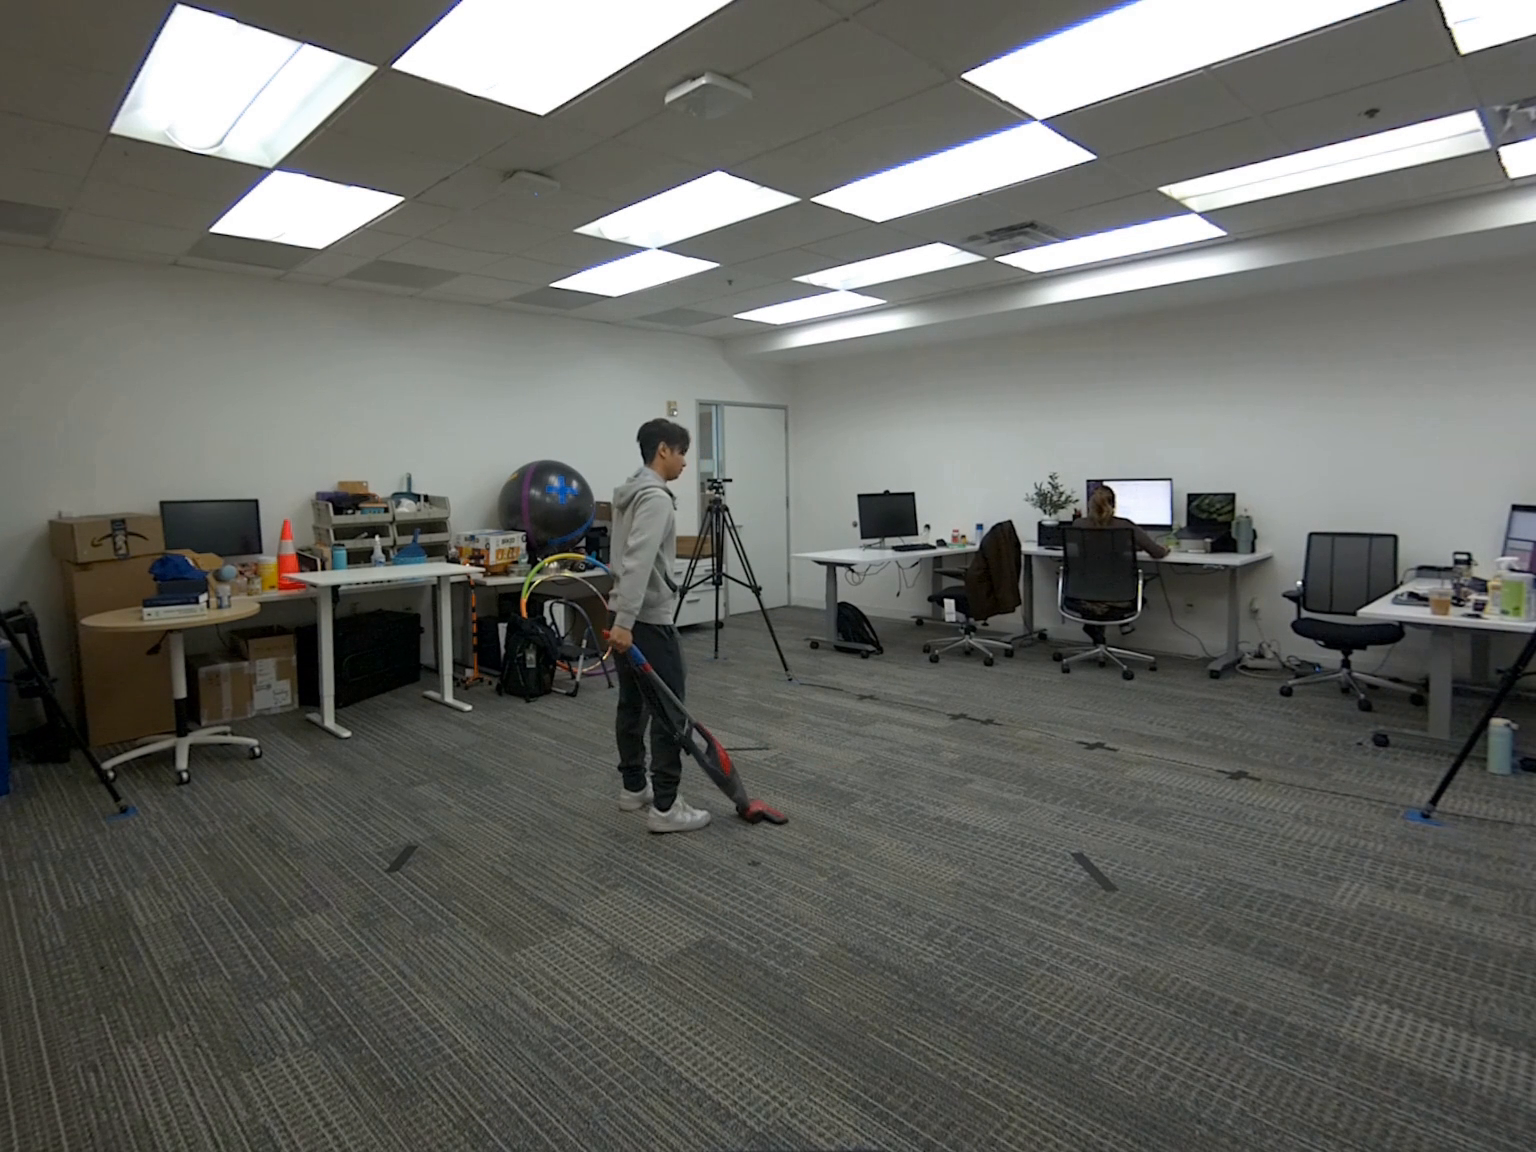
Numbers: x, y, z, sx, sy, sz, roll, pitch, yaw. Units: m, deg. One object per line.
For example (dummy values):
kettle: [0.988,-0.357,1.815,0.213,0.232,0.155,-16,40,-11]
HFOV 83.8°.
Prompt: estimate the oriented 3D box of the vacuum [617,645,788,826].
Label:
vacuum: [-0.300,0.616,3.361,0.144,1.020,0.260,-47,25,-22]
